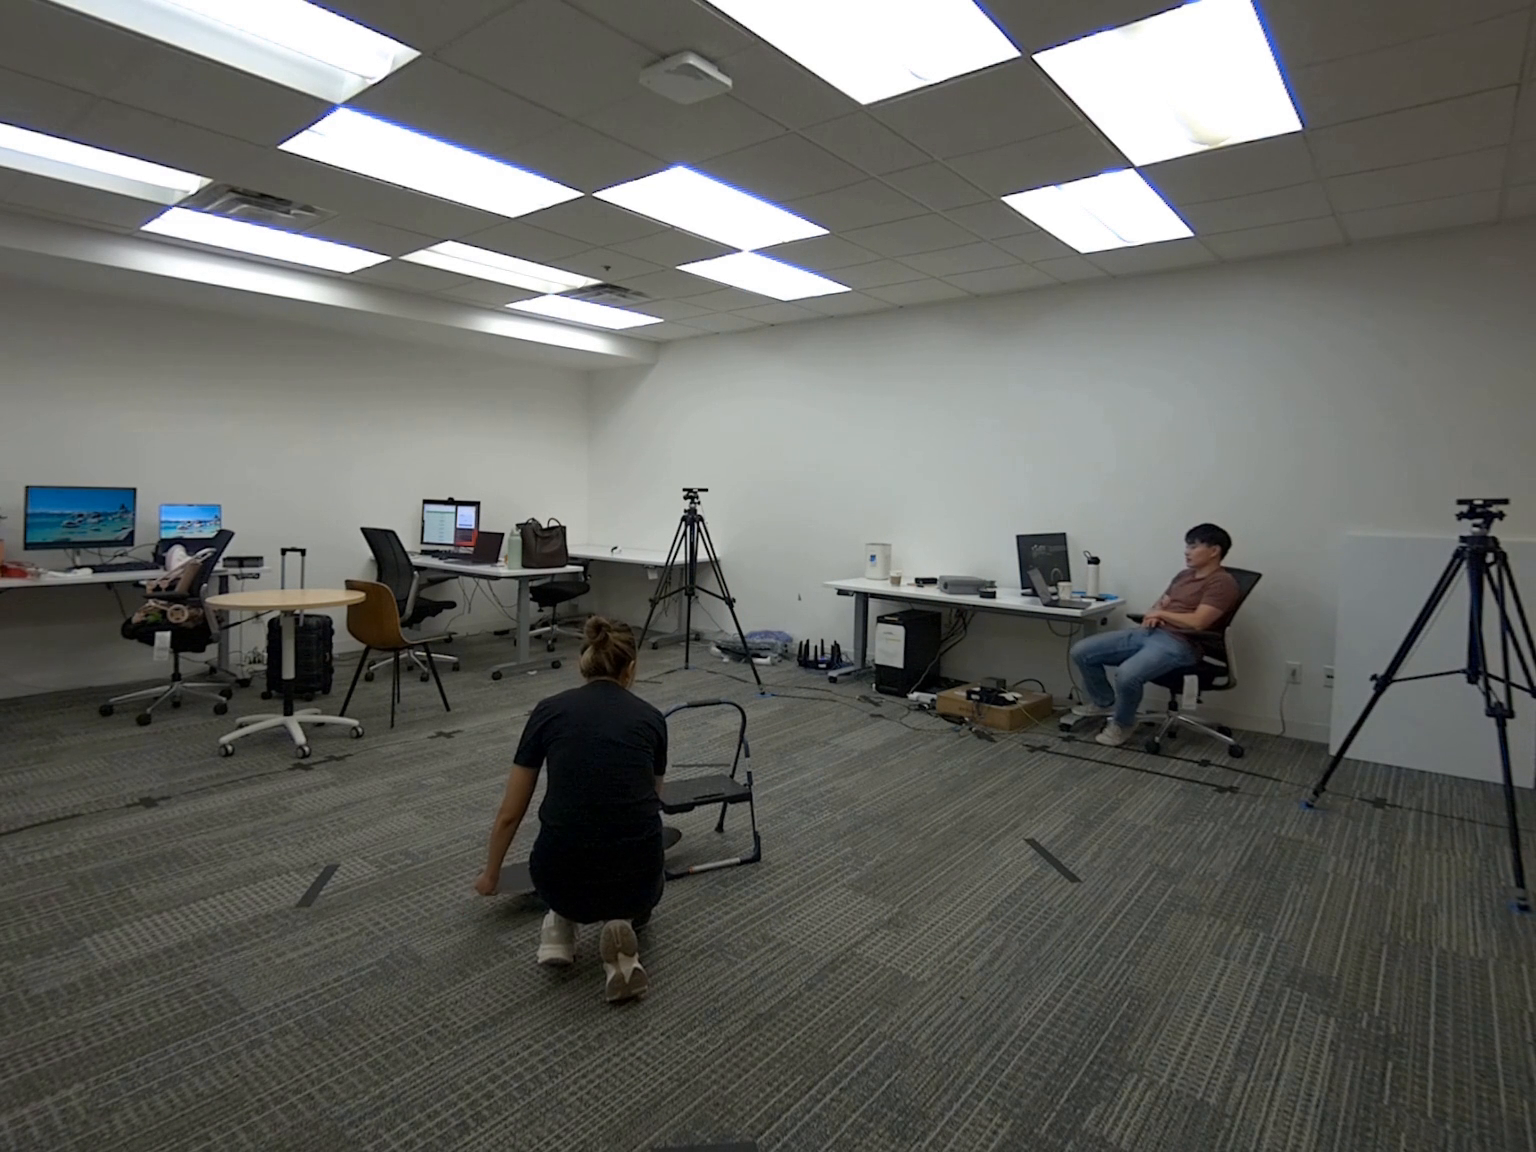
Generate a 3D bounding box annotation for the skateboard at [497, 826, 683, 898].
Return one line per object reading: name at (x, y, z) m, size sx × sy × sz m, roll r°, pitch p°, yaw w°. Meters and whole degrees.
skateboard at (-0.623, 1.005, 2.973) m, size 0.762 × 0.110 × 0.200 m, roll -2°, pitch 4°, yaw -39°
